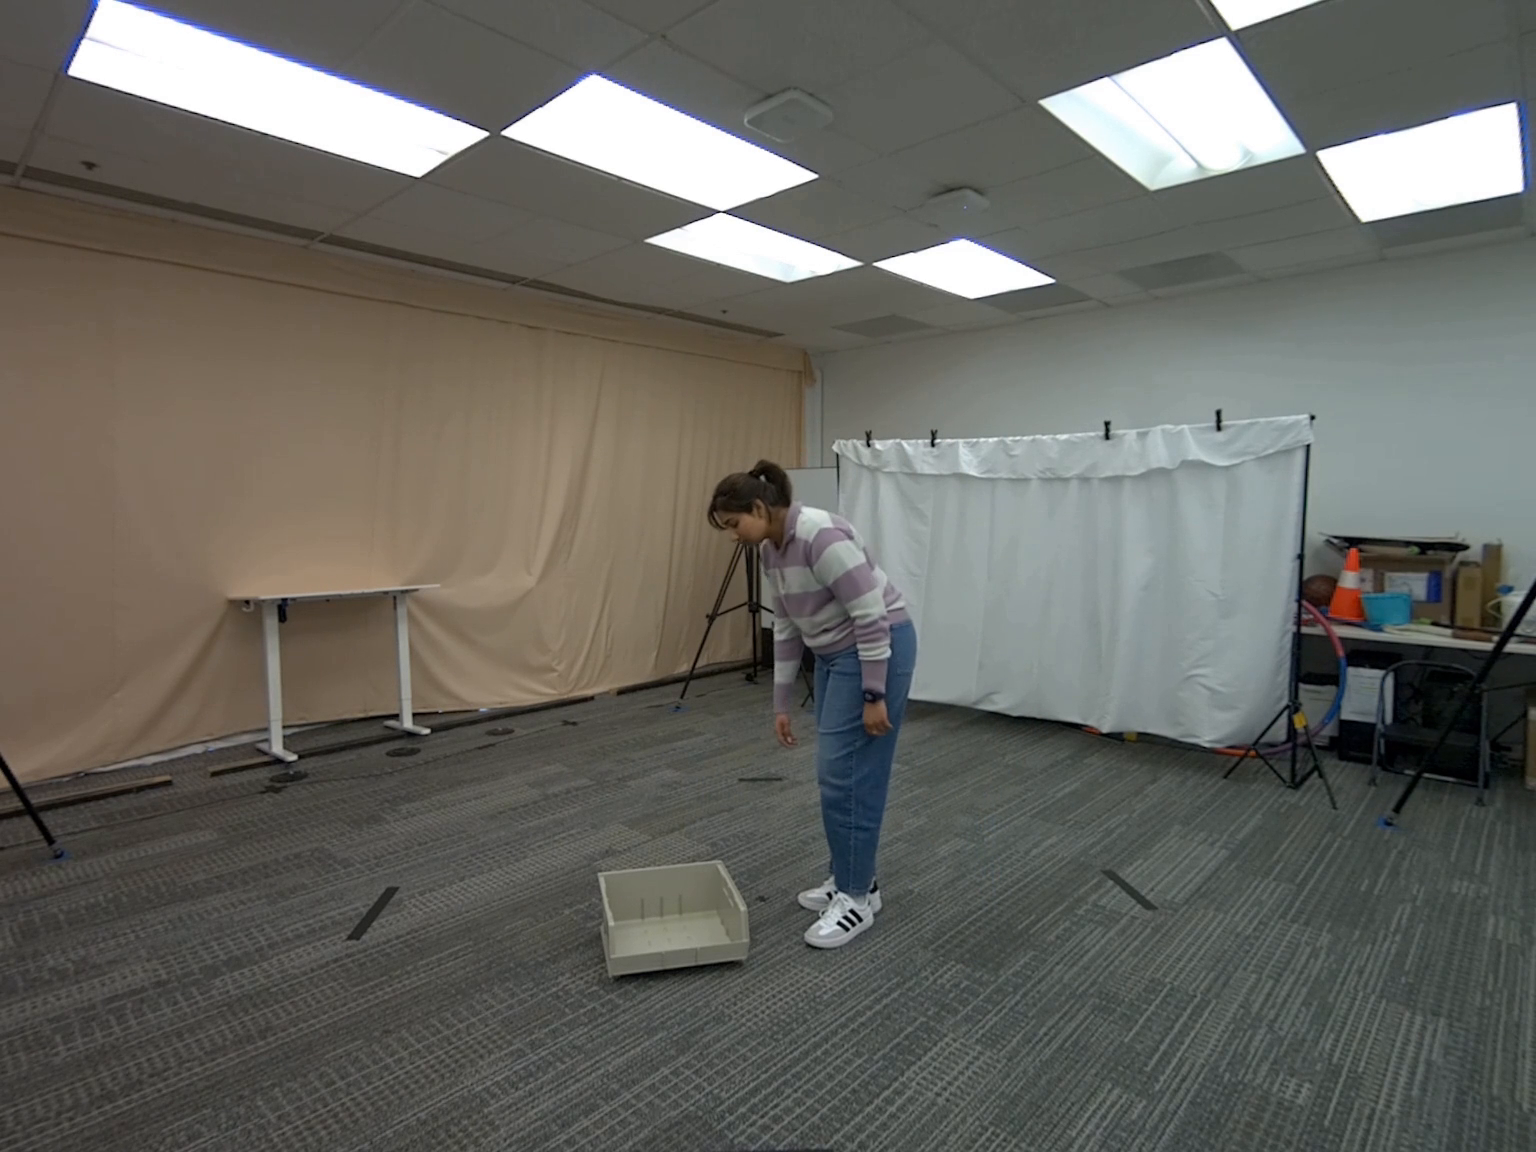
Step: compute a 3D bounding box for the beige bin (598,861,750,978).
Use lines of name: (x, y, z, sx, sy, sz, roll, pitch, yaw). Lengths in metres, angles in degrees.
beige bin: (-0.304, 1.082, 2.655, 0.416, 0.188, 0.384, -3, 5, -15)
